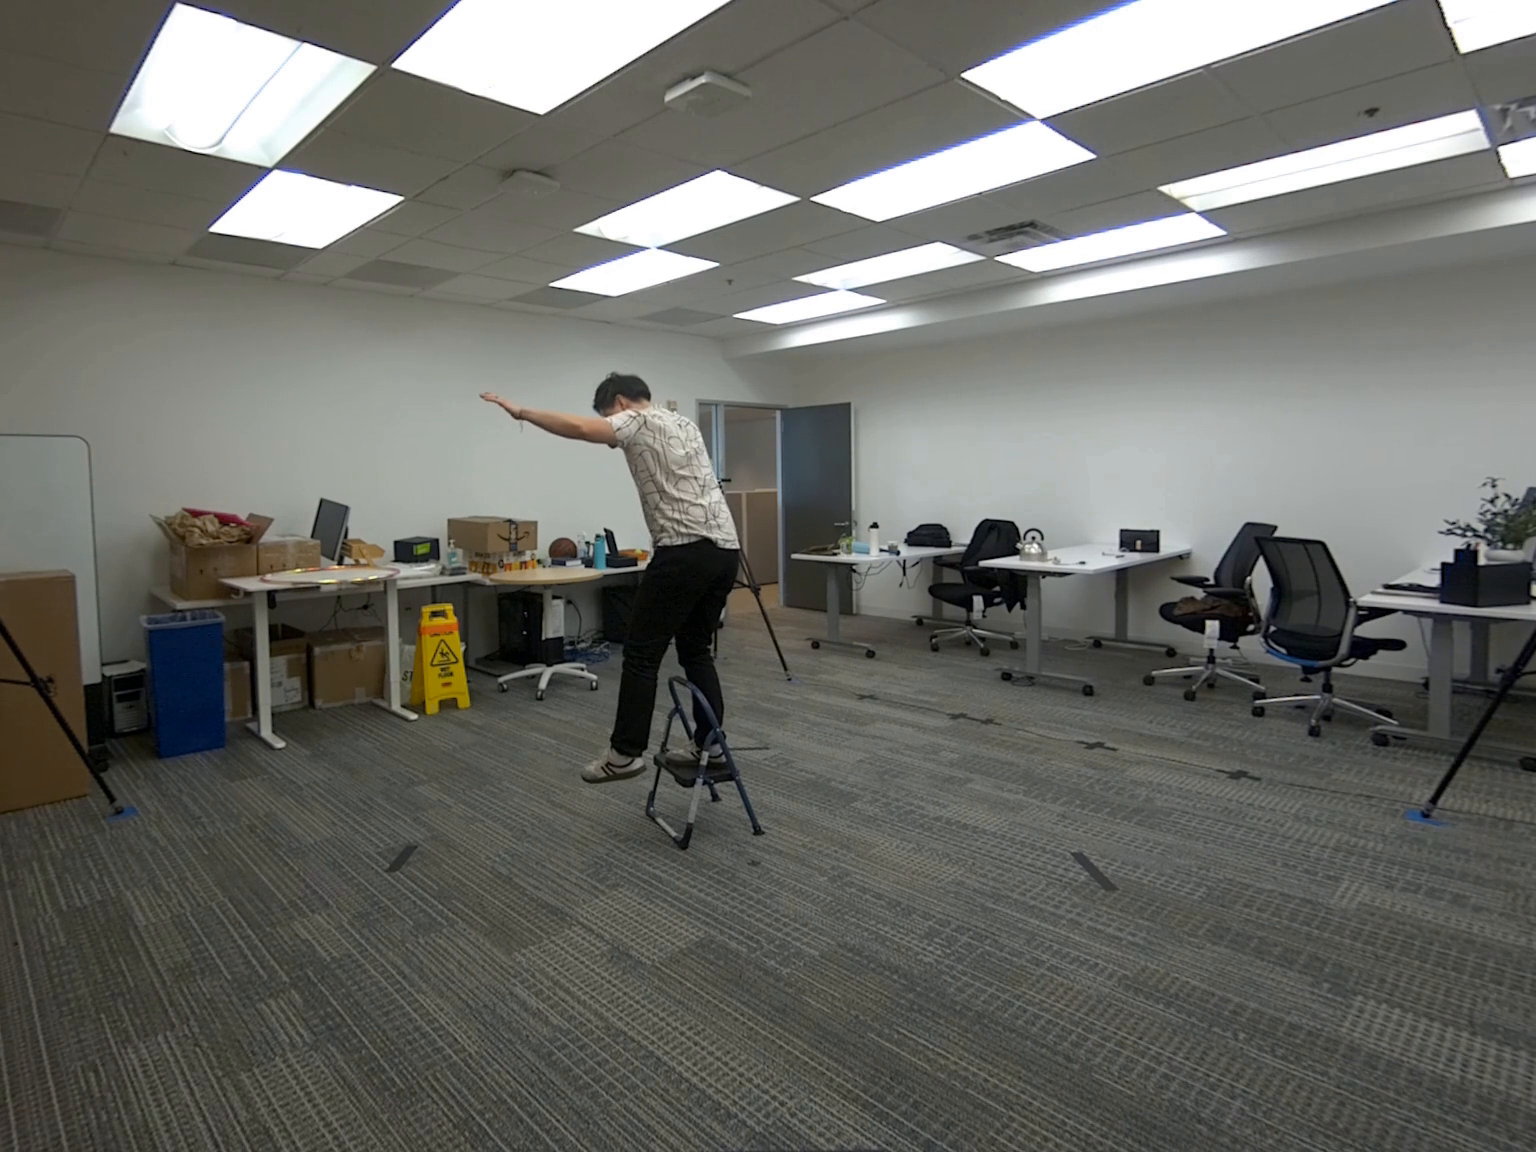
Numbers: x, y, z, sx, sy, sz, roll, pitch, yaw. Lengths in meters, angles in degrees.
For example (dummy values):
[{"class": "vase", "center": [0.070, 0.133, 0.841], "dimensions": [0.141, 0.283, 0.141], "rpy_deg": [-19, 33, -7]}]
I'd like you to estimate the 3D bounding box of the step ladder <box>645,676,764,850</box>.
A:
[{"class": "step ladder", "center": [-0.272, 0.707, 3.464], "dimensions": [0.341, 0.604, 0.442], "rpy_deg": [-3, 4, -28]}]
